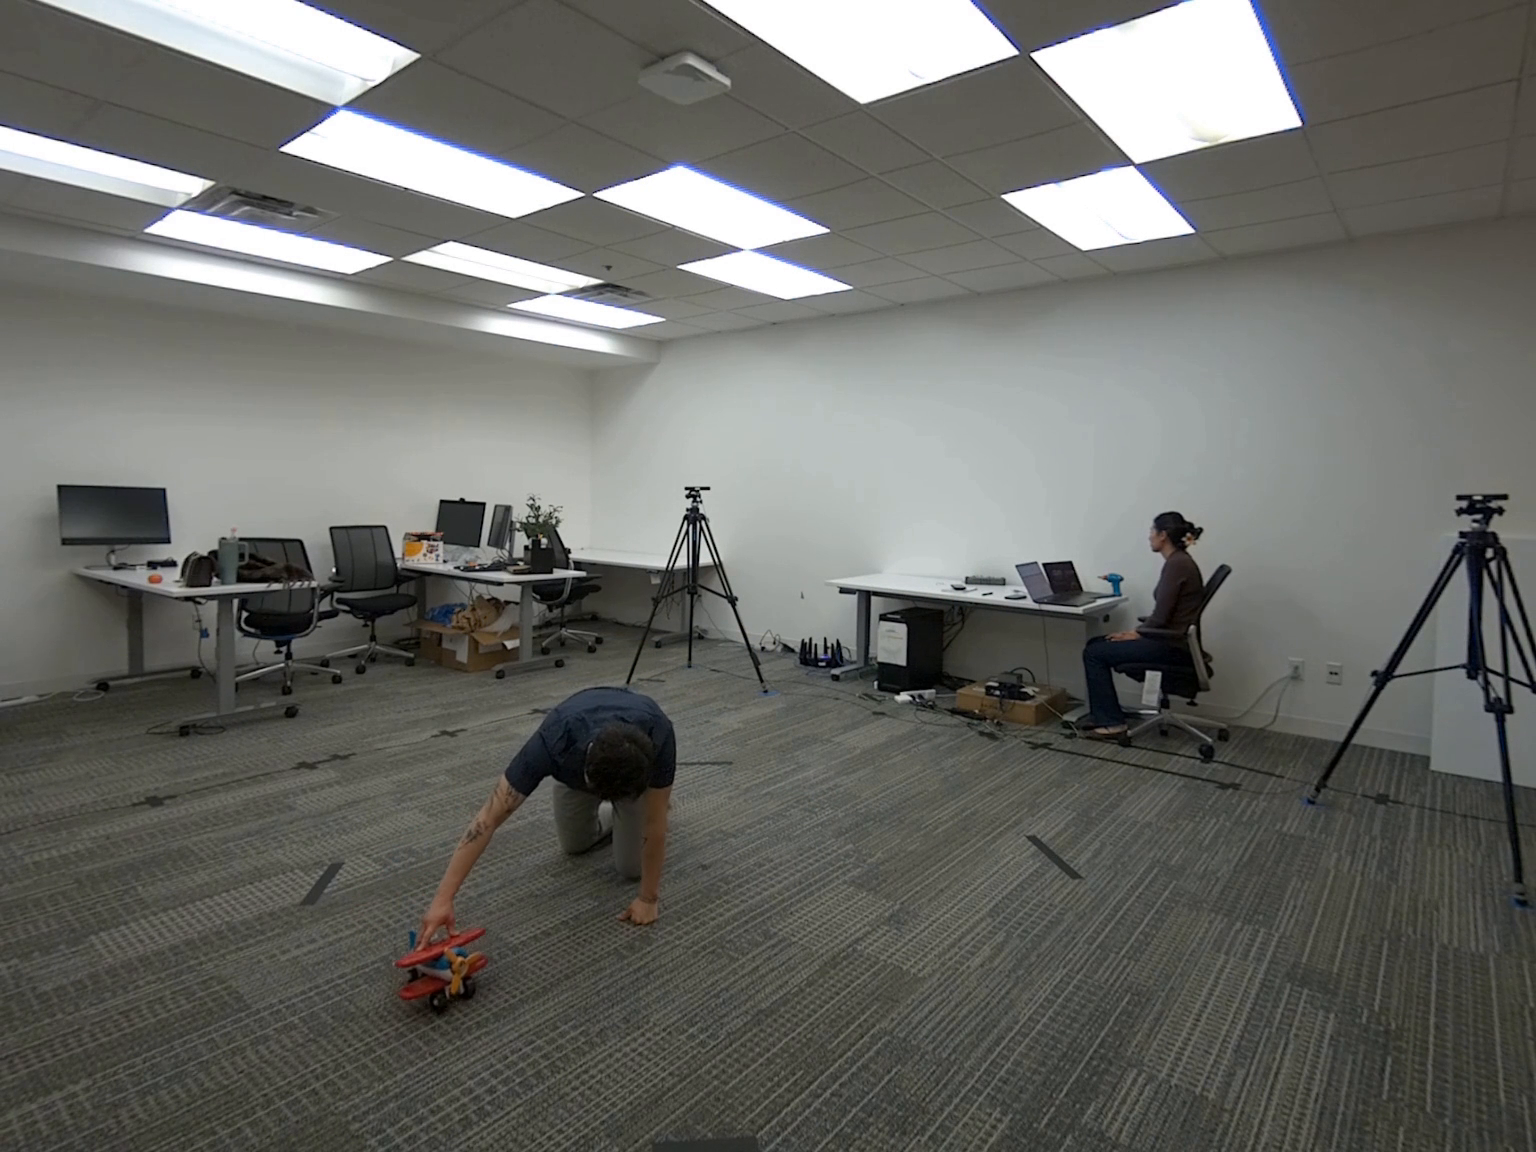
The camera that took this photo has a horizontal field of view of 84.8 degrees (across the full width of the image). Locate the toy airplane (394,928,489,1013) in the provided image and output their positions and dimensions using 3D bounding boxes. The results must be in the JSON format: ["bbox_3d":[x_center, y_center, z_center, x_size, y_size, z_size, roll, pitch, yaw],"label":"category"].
[{"bbox_3d":[-0.931,1.064,2.315,0.263,0.156,0.248,4,4,11],"label":"toy airplane"}]
